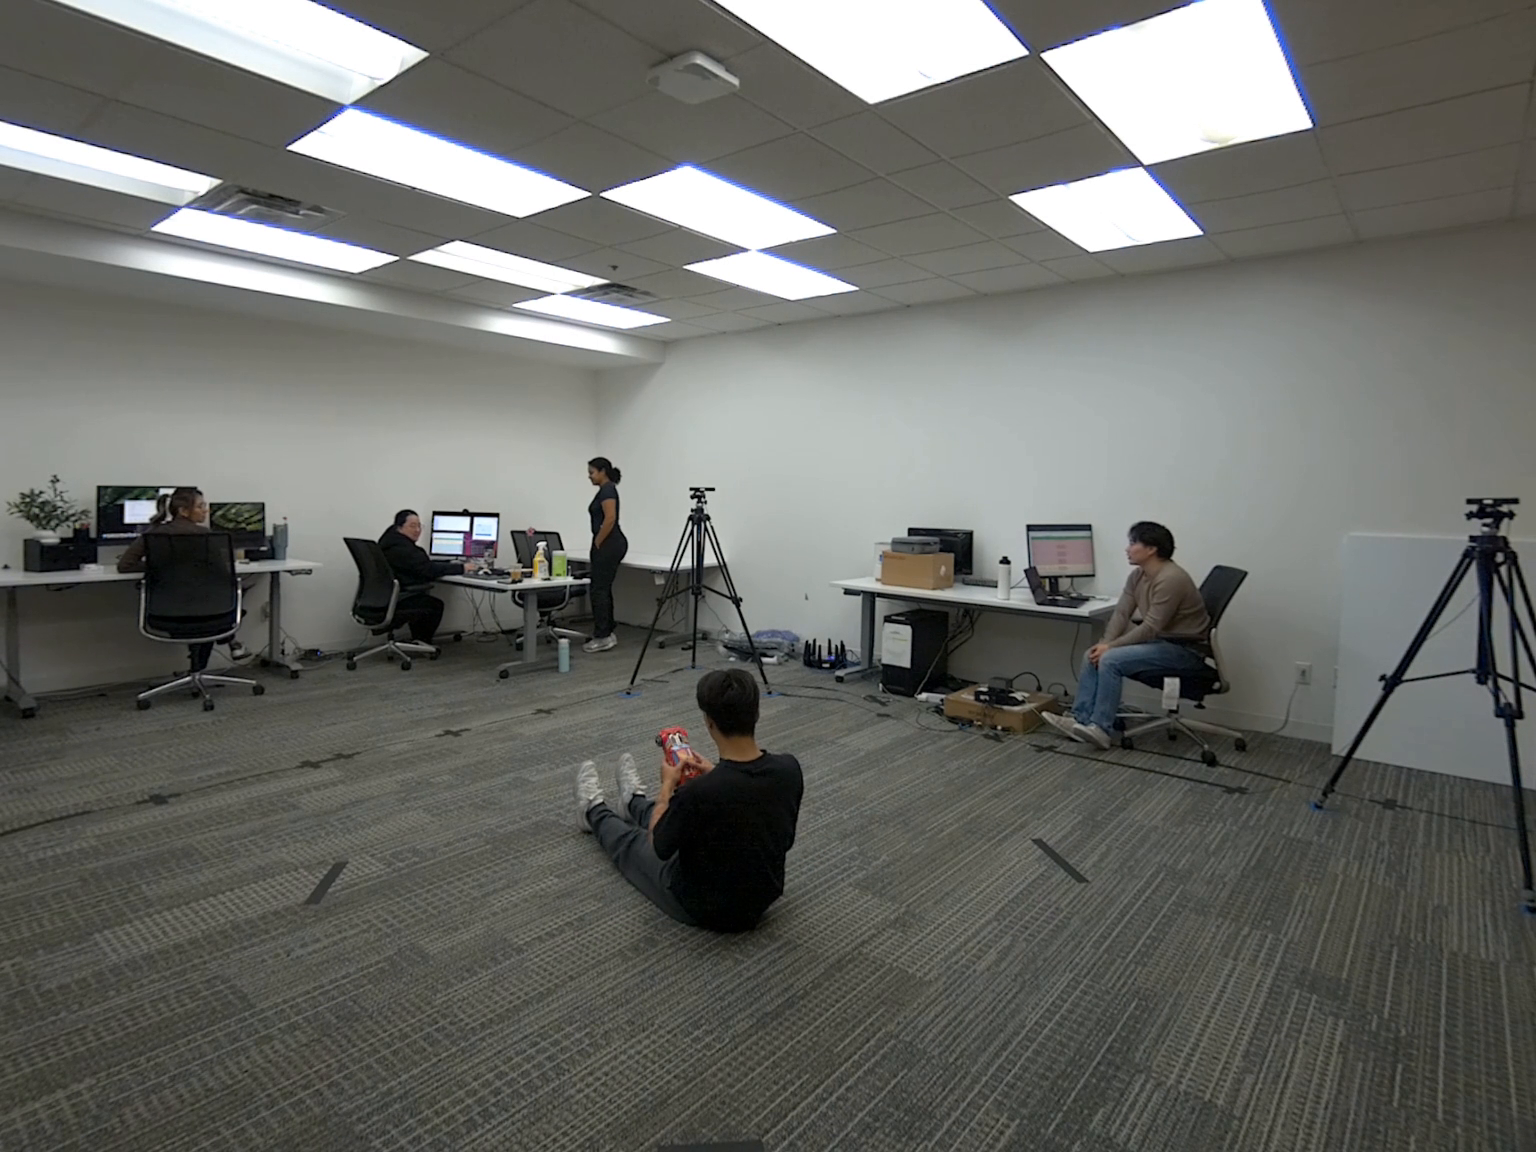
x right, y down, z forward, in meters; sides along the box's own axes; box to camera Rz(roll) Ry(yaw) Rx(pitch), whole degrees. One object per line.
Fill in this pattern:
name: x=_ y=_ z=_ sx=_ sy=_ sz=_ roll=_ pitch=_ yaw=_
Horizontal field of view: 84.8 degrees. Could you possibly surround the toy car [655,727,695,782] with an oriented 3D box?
toy car: x=-0.310 y=0.660 z=3.016 sx=0.126 sy=0.082 sz=0.265 roll=-1 pitch=44 yaw=-39
